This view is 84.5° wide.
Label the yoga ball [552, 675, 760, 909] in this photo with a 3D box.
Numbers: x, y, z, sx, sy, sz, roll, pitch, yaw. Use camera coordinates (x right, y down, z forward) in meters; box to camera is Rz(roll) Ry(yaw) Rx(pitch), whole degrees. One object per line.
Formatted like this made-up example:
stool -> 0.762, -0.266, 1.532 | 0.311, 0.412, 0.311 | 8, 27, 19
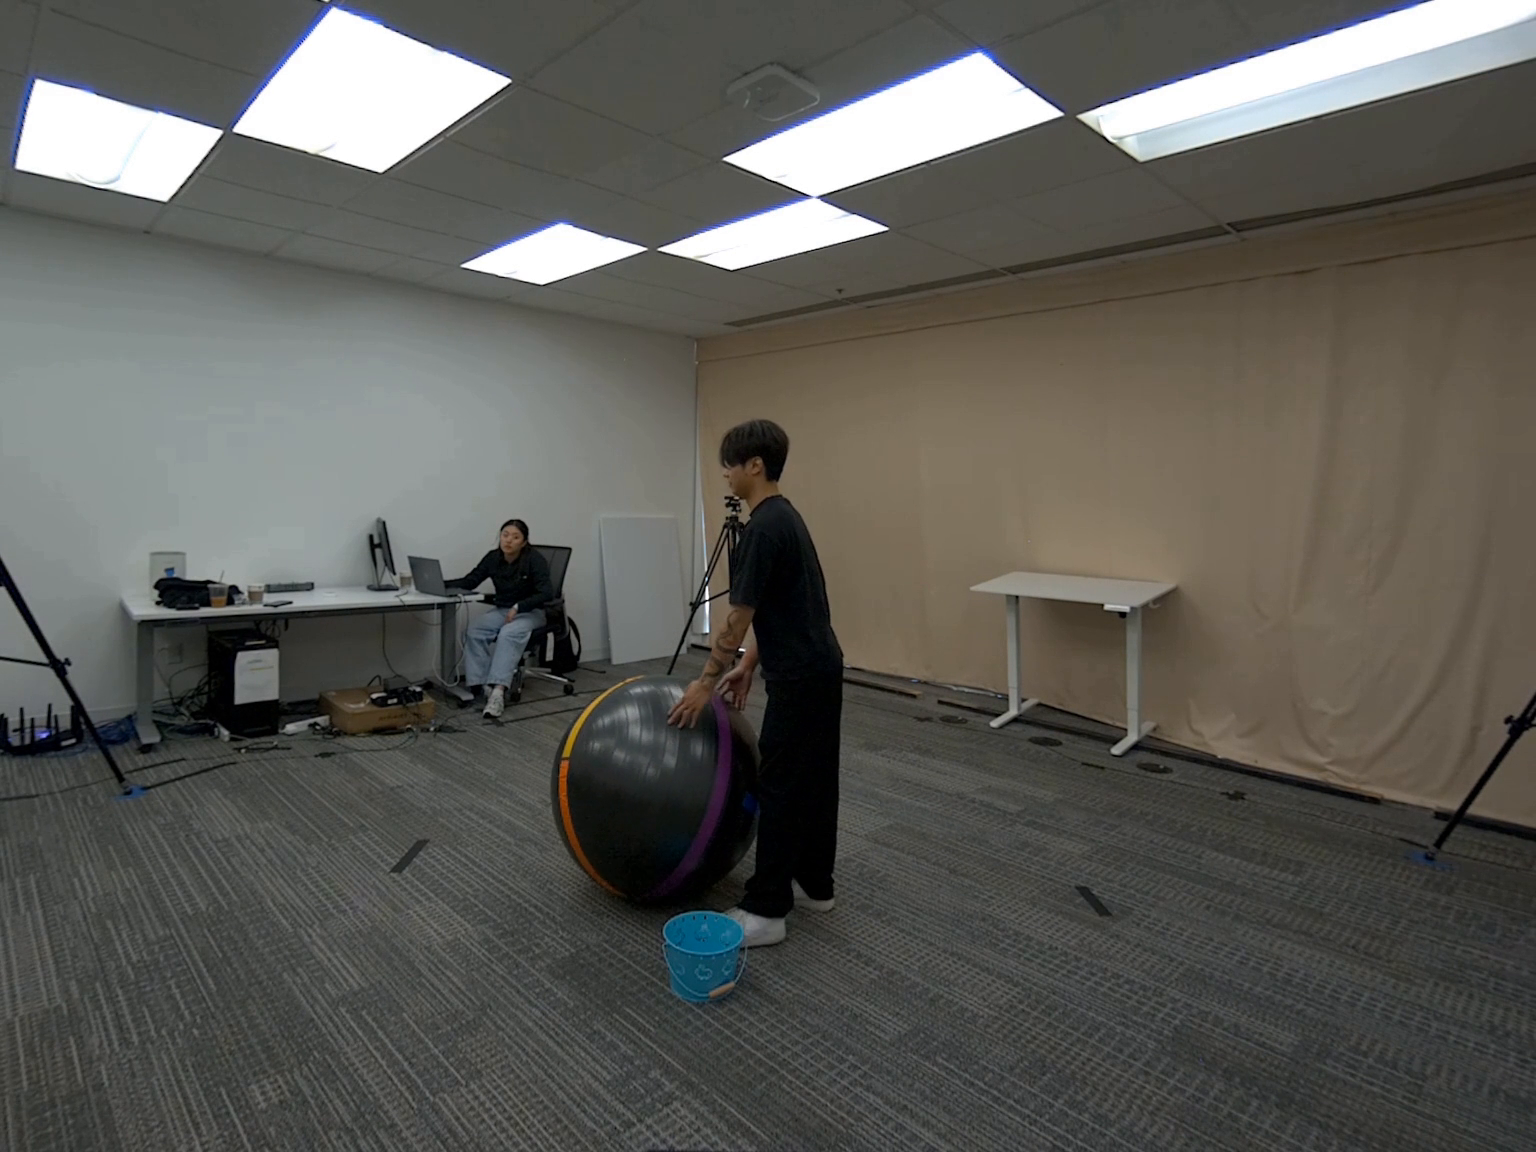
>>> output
yoga ball -> -0.386, 0.743, 2.965 | 0.757, 0.756, 0.761 | 1, 4, -1
